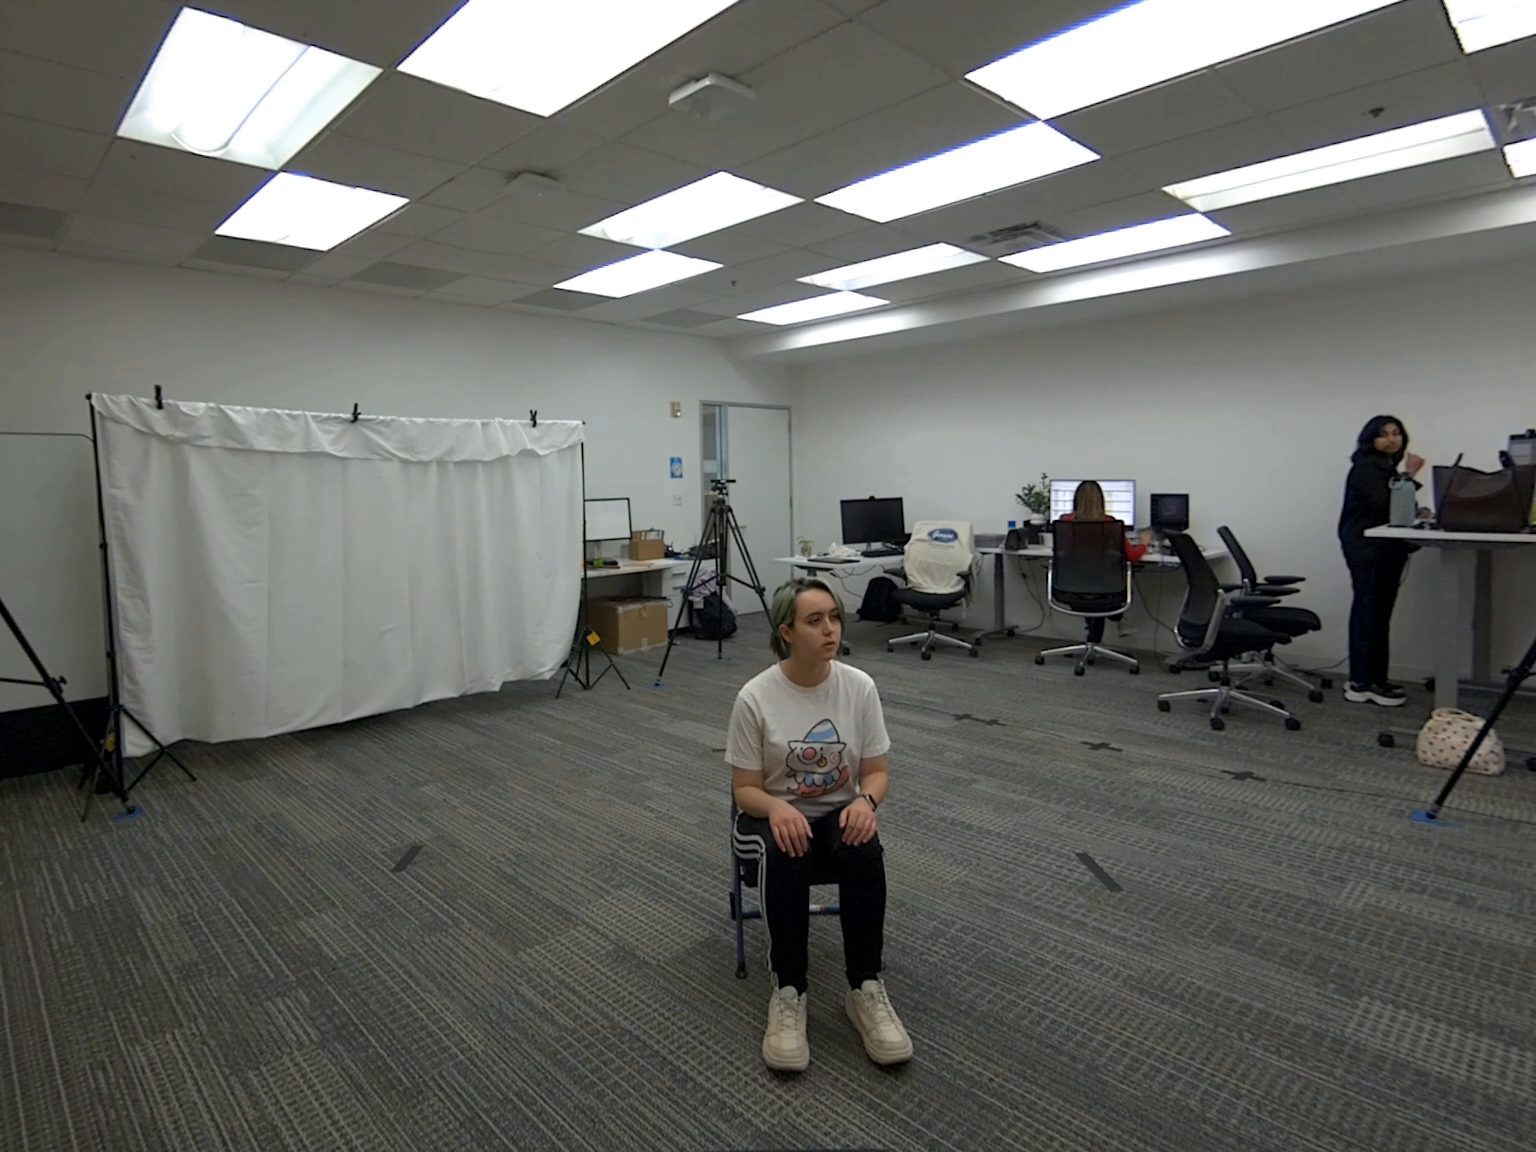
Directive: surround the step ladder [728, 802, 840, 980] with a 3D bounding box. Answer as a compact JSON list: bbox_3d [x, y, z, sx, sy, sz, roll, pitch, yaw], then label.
[{"bbox_3d":[0.104,0.809,2.566,0.429,0.603,0.352,-2,5,-5],"label":"step ladder"}]
